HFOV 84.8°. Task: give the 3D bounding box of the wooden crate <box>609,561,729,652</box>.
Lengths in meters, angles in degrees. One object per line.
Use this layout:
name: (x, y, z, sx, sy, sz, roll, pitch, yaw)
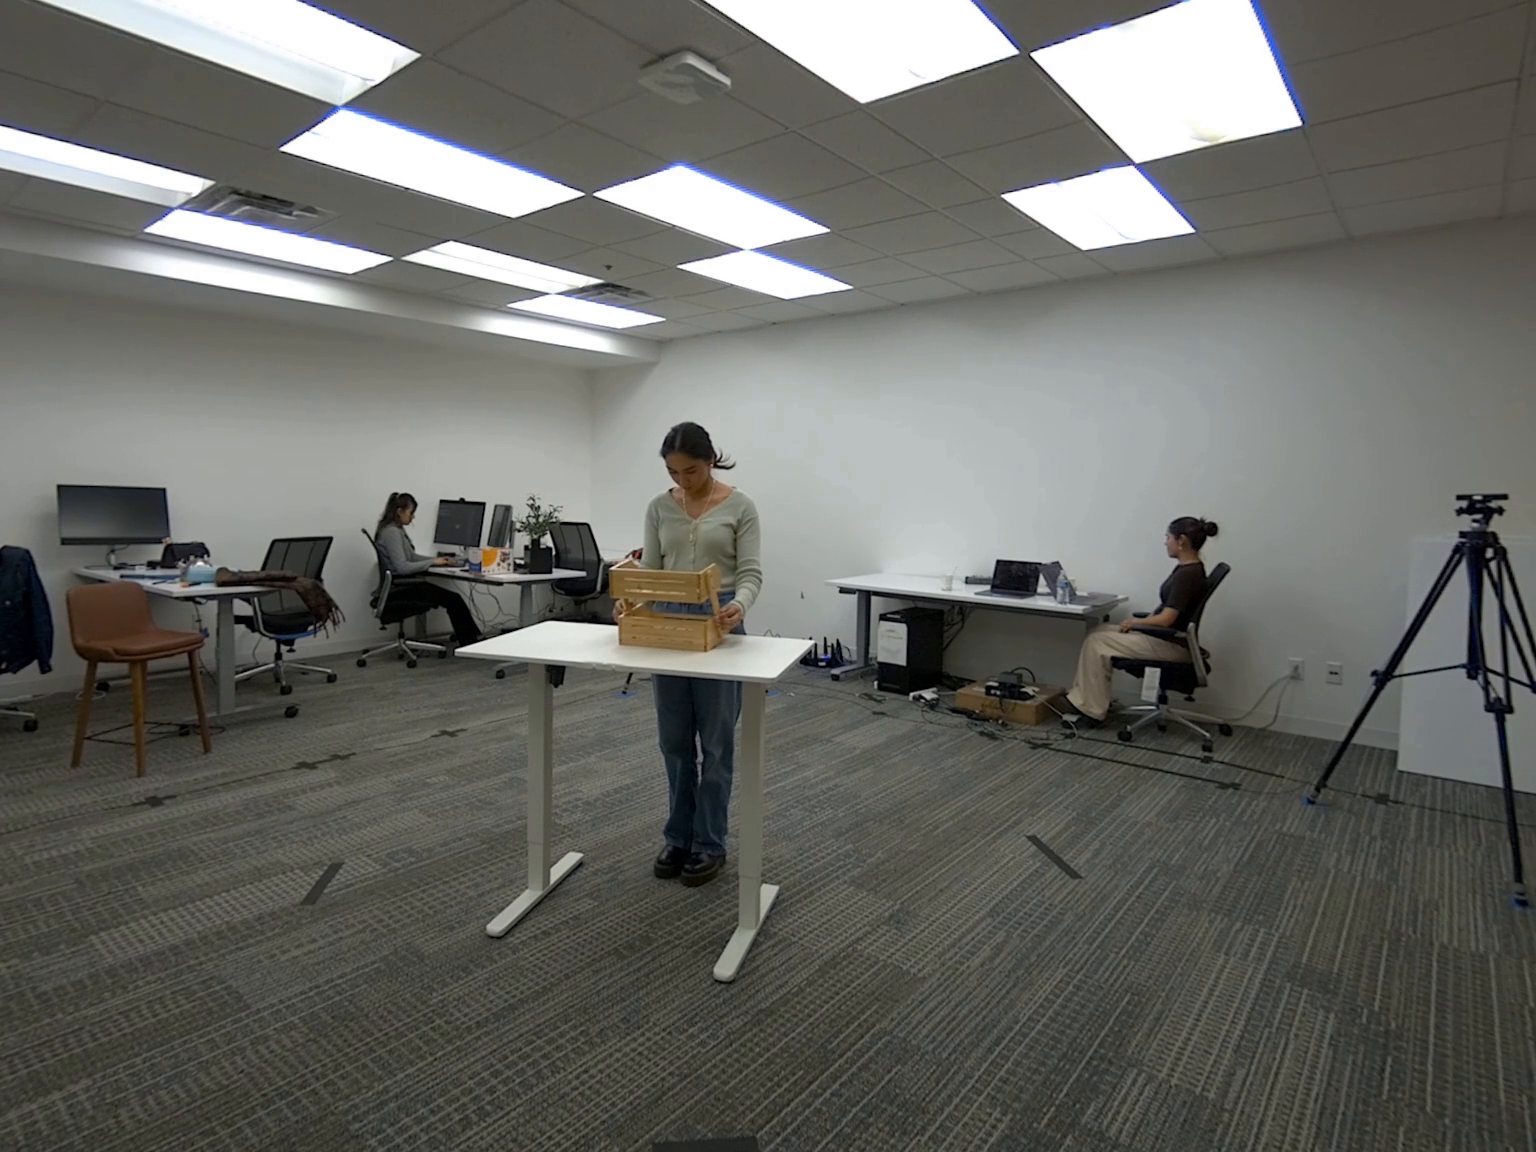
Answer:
wooden crate: (-0.323, 0.074, 2.750, 0.331, 0.270, 0.300, 3, 12, 17)
